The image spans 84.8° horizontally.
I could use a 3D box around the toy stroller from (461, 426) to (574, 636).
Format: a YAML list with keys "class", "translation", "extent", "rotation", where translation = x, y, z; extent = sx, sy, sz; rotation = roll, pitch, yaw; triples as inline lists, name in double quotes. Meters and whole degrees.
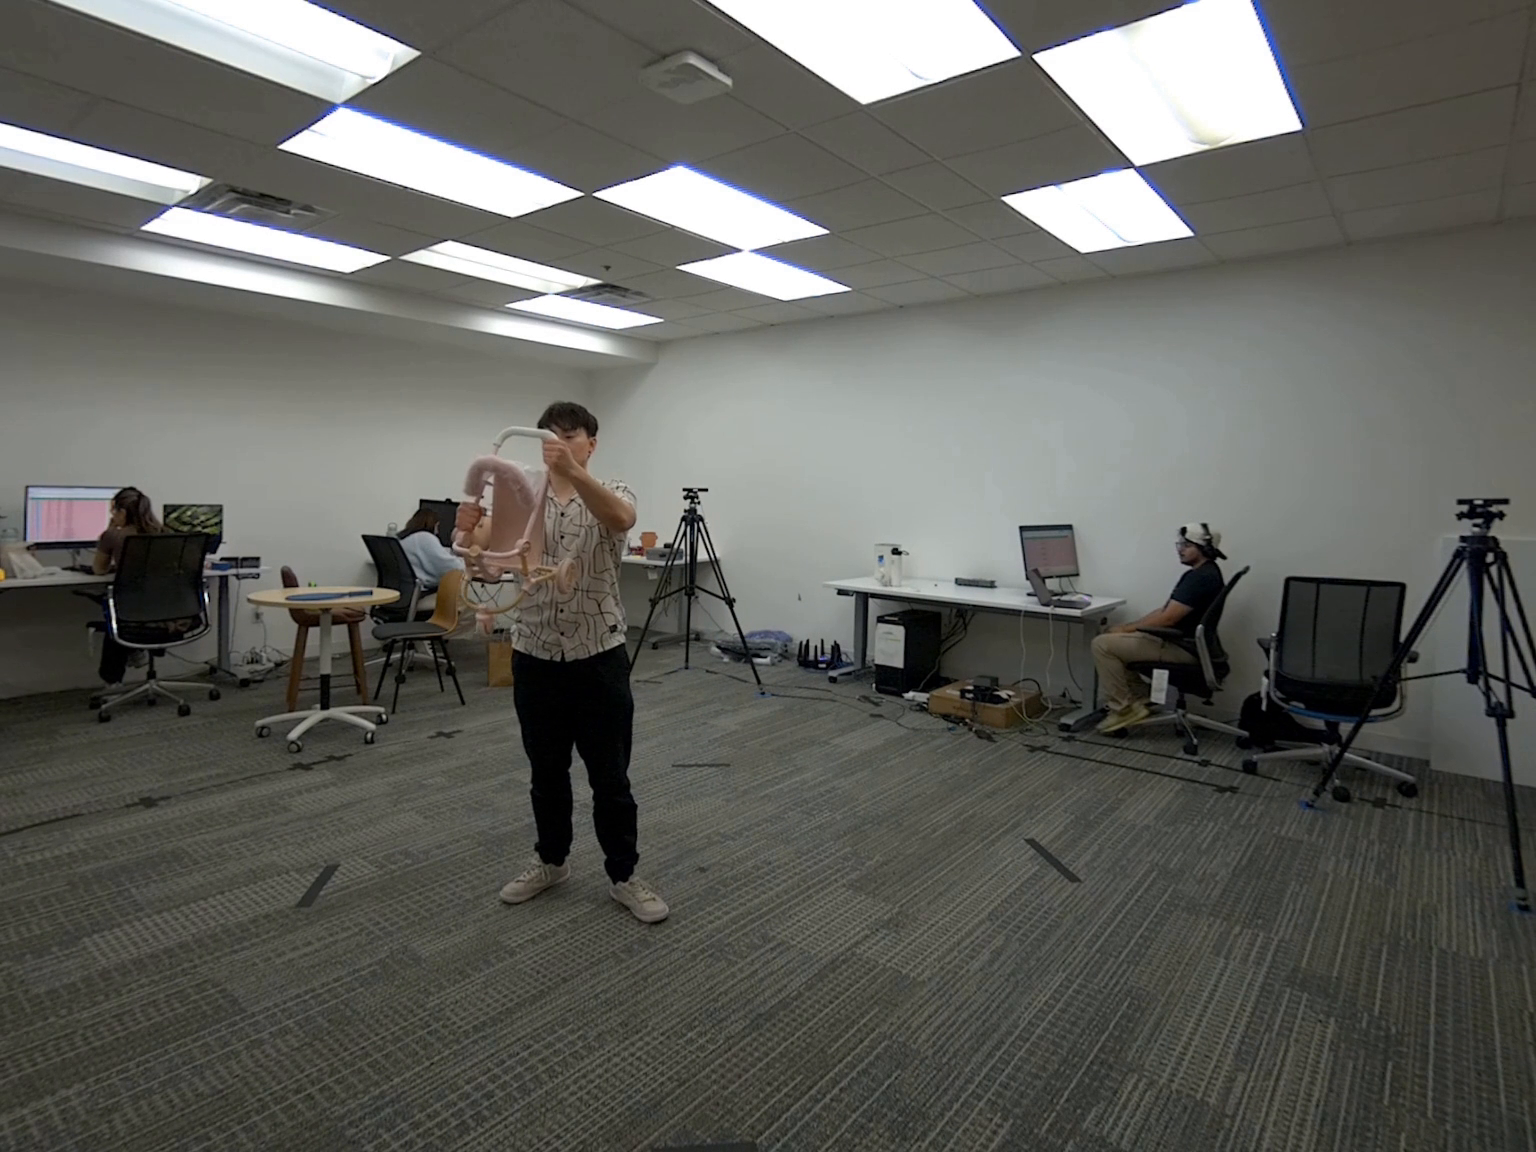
- class: "toy stroller"
  translation: [-0.754, -0.123, 2.410]
  extent: [0.288, 0.525, 0.340]
  rotation: [10, 23, 18]
